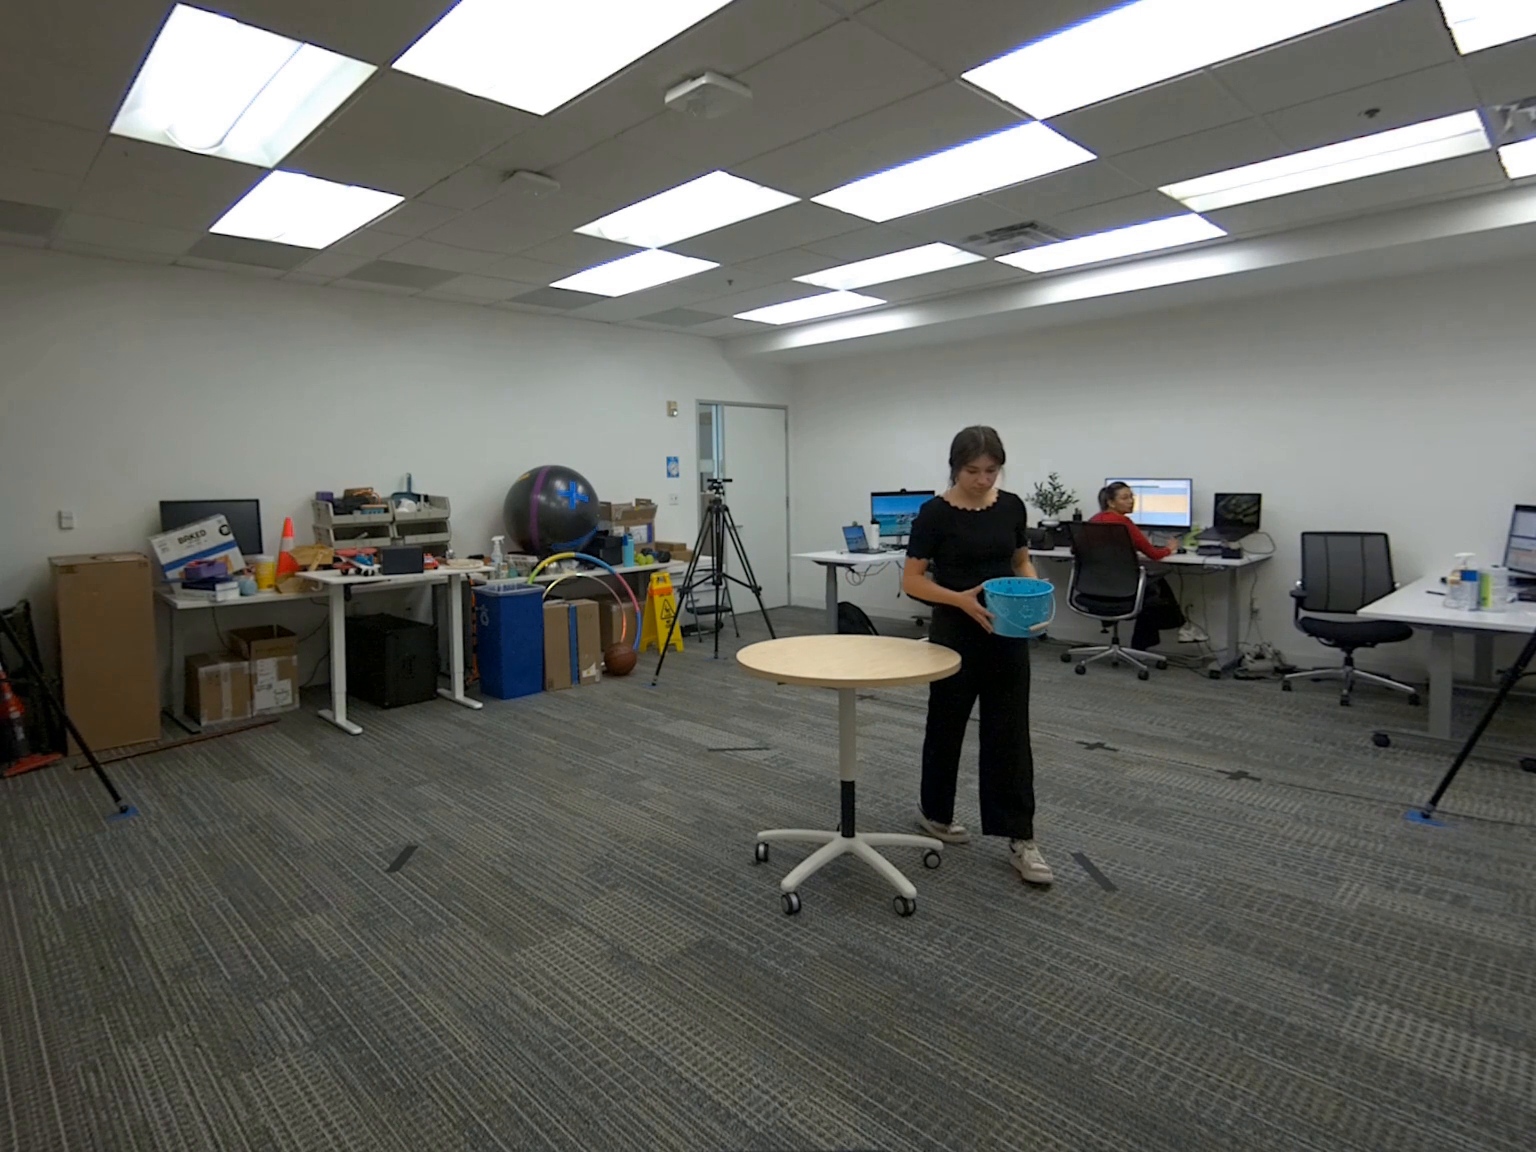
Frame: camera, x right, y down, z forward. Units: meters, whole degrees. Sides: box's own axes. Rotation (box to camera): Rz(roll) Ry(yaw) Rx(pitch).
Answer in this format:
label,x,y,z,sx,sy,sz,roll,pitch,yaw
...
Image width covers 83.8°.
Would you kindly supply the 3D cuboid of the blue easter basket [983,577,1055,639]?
label,x,y,z,sx,sy,sz,roll,pitch,yaw
blue easter basket,0.838,0.109,2.896,0.243,0.154,0.246,-4,13,-1
